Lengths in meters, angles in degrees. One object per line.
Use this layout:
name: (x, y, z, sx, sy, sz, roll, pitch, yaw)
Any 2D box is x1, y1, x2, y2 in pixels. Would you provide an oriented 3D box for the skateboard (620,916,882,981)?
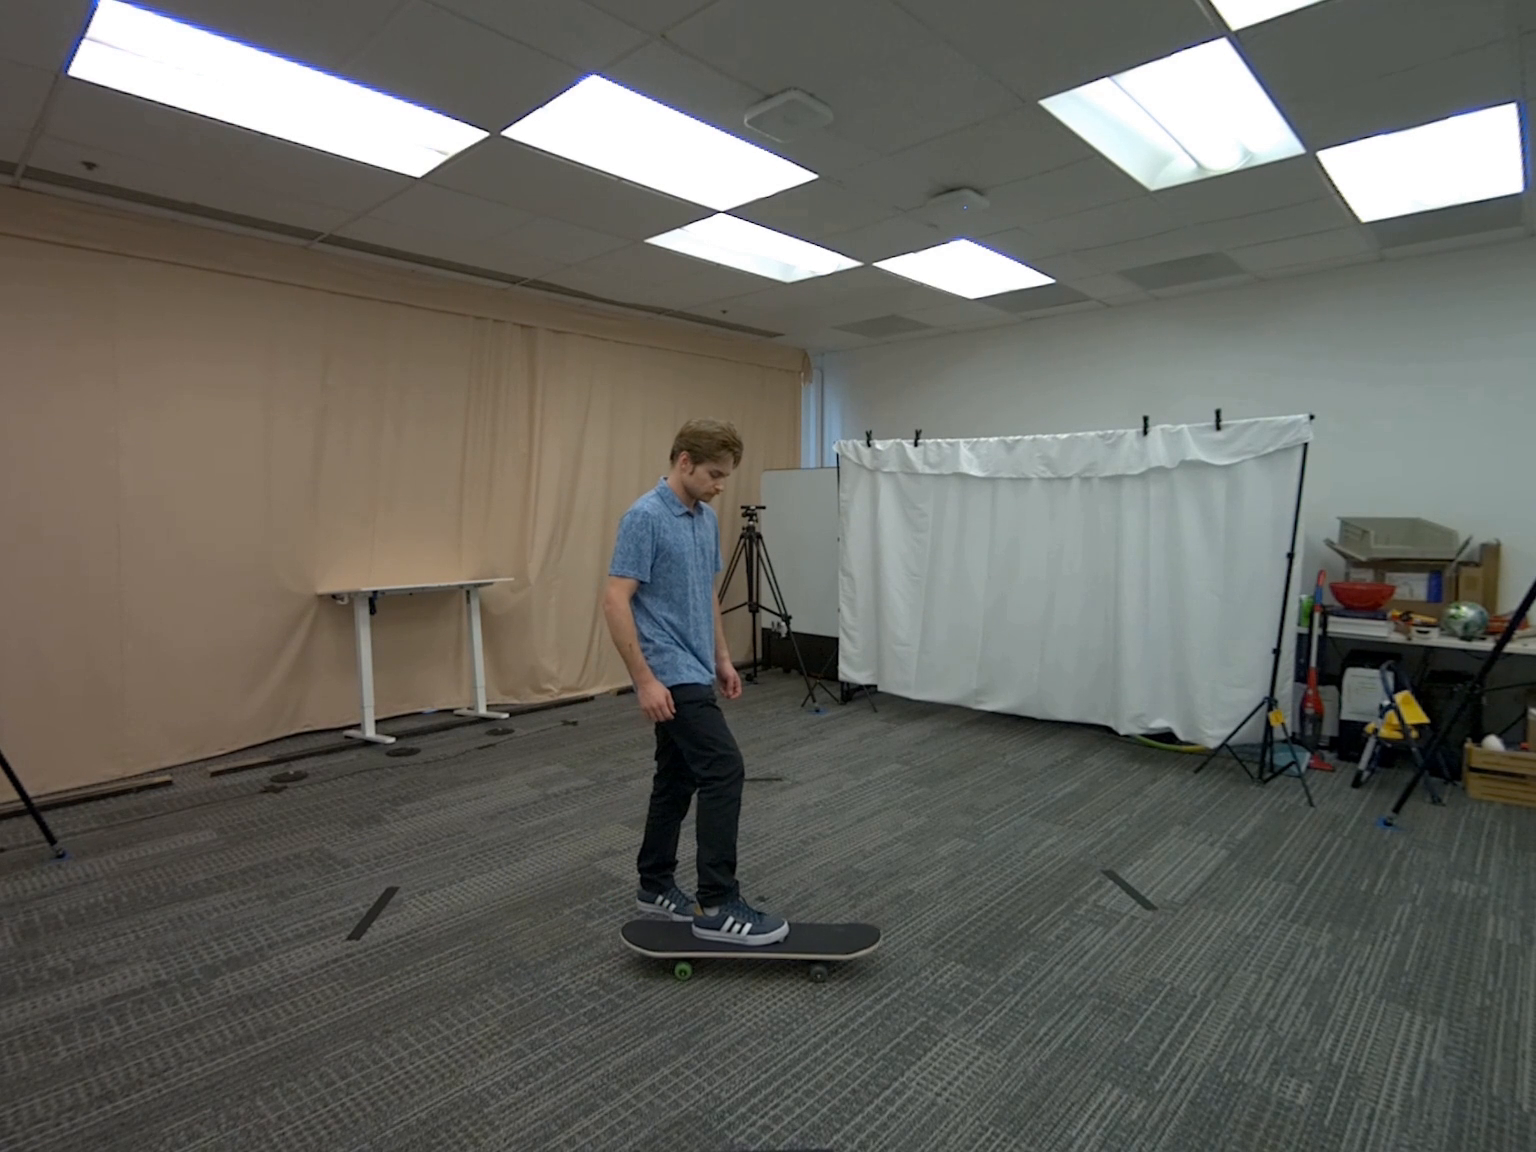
skateboard: (-0.050, 1.125, 2.546, 0.787, 0.110, 0.193, 0, 3, 1)
